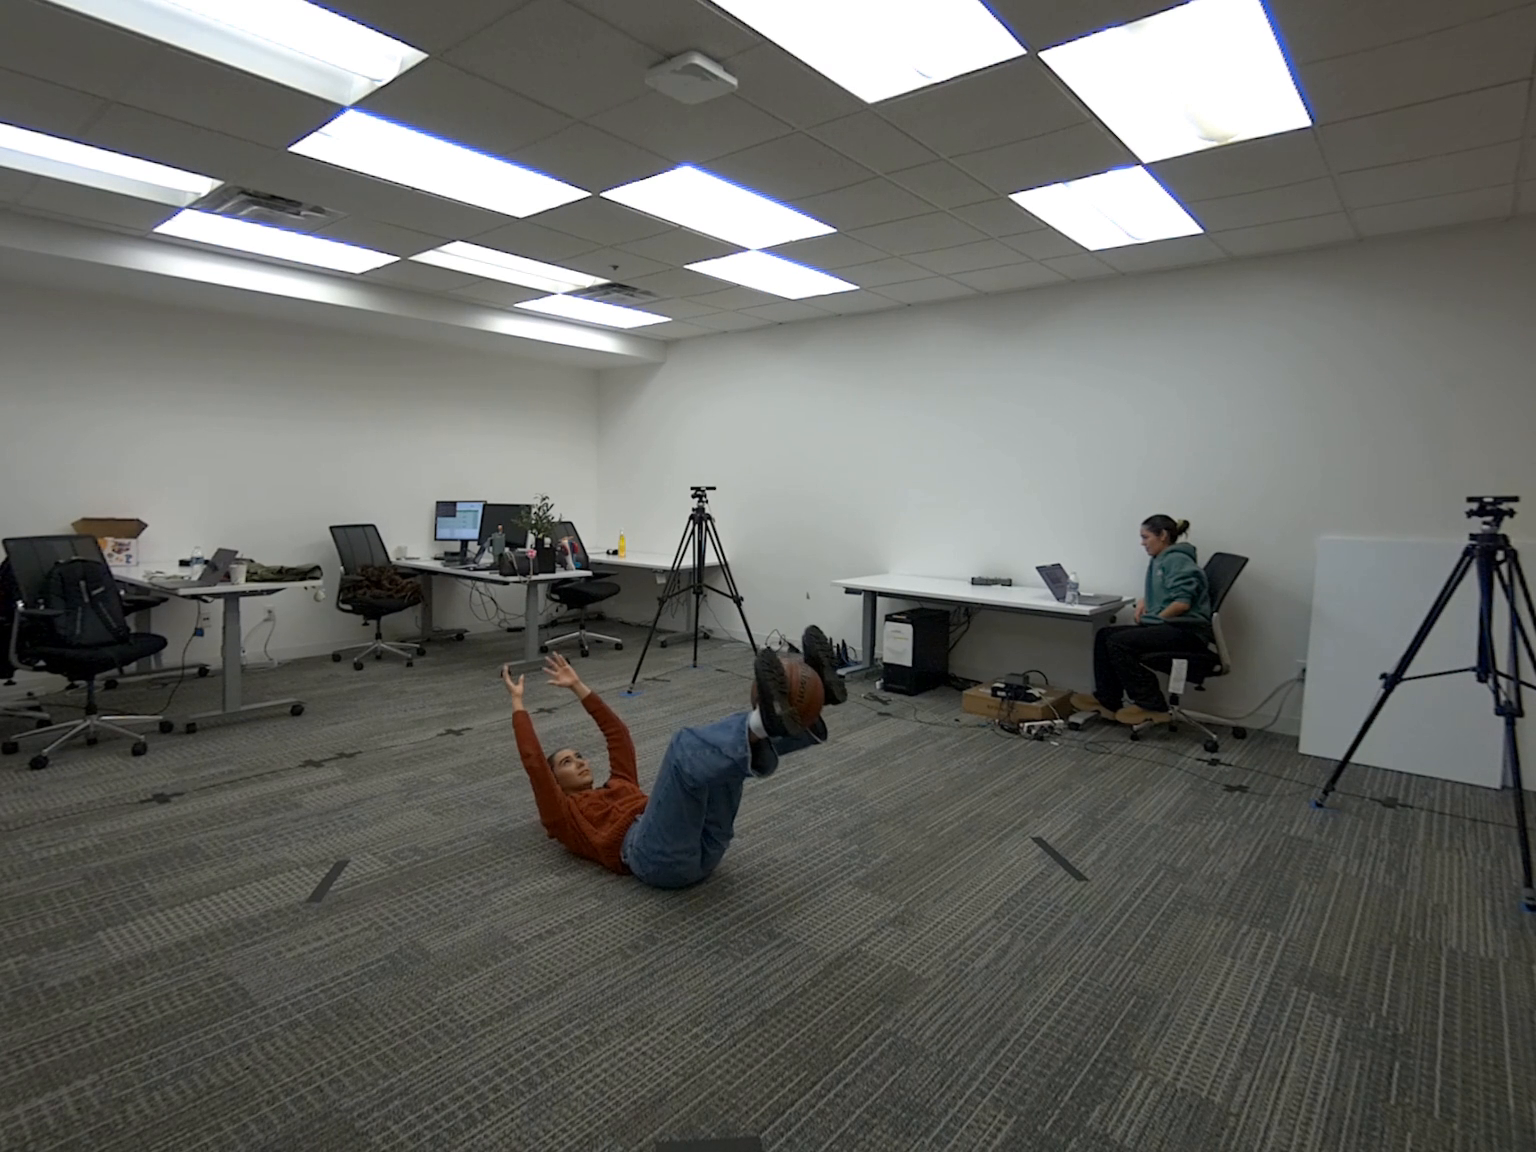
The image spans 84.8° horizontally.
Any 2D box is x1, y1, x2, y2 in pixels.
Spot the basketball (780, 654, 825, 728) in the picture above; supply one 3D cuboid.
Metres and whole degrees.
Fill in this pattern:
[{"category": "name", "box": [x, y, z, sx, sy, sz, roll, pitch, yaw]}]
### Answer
[{"category": "basketball", "box": [0.057, 0.382, 2.730, 0.236, 0.235, 0.237, -3, 3, -2]}]
